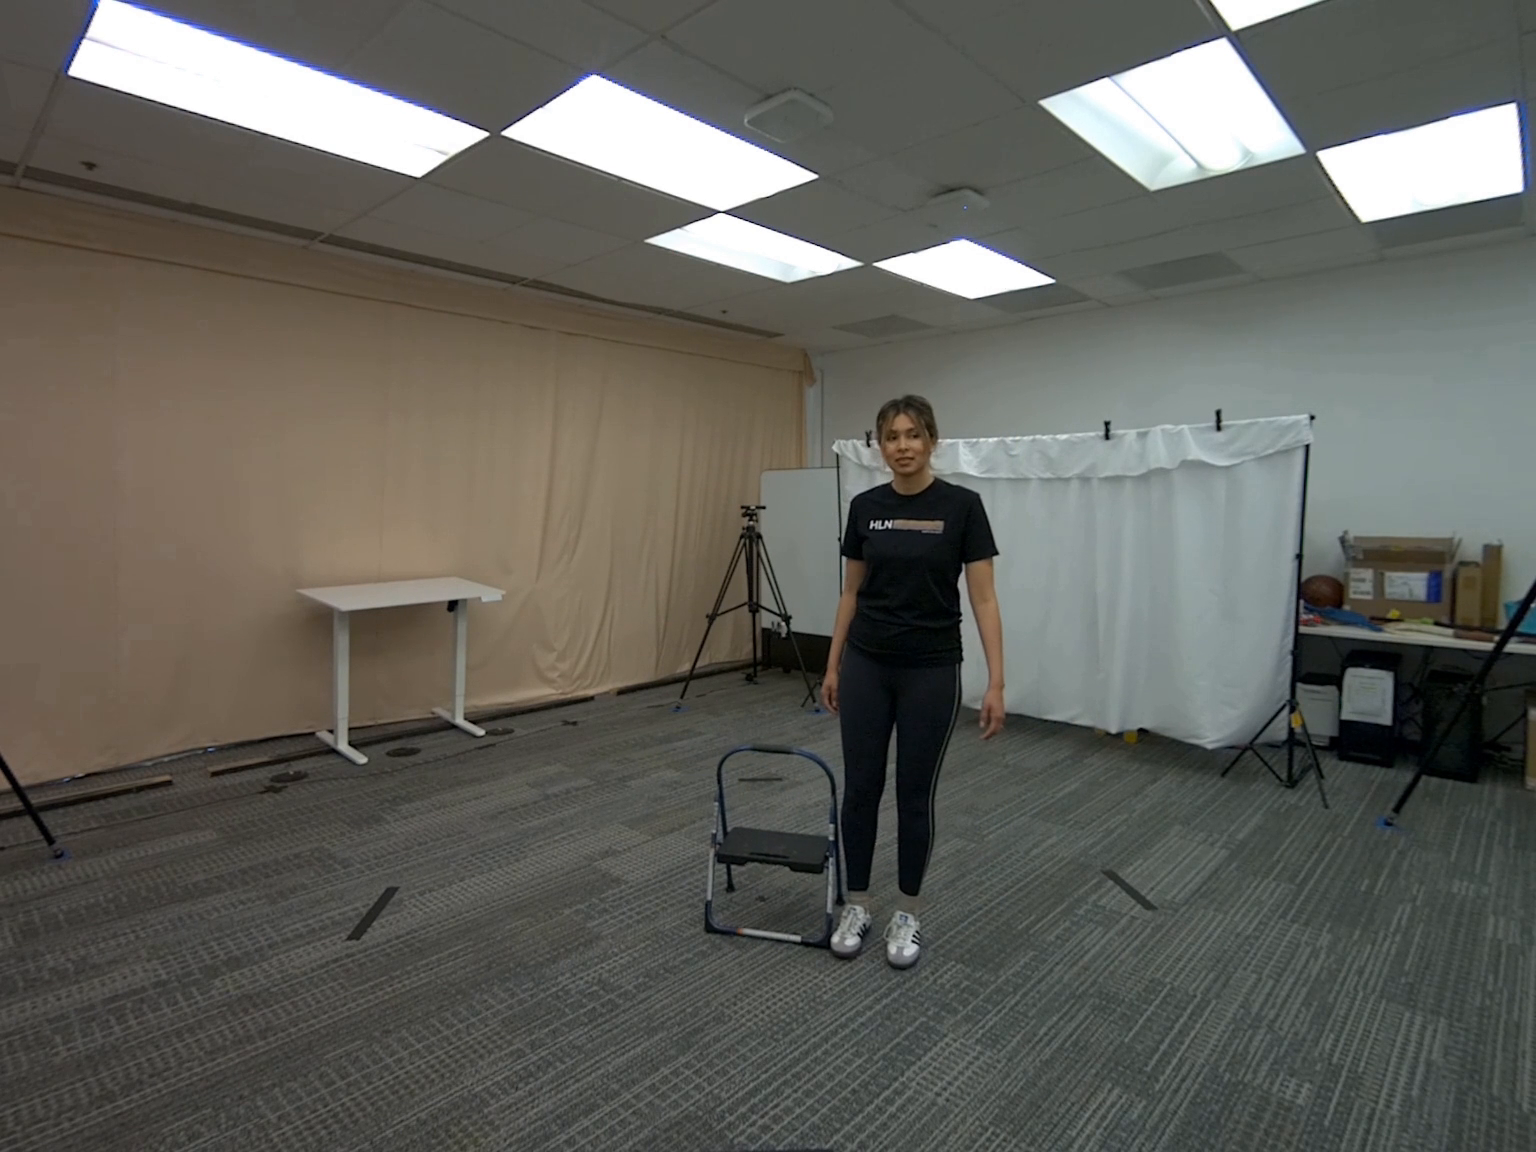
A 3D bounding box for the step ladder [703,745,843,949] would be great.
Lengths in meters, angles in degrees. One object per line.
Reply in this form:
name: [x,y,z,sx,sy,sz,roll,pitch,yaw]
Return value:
step ladder: [0.026,0.855,2.842,0.437,0.605,0.344,1,3,14]
